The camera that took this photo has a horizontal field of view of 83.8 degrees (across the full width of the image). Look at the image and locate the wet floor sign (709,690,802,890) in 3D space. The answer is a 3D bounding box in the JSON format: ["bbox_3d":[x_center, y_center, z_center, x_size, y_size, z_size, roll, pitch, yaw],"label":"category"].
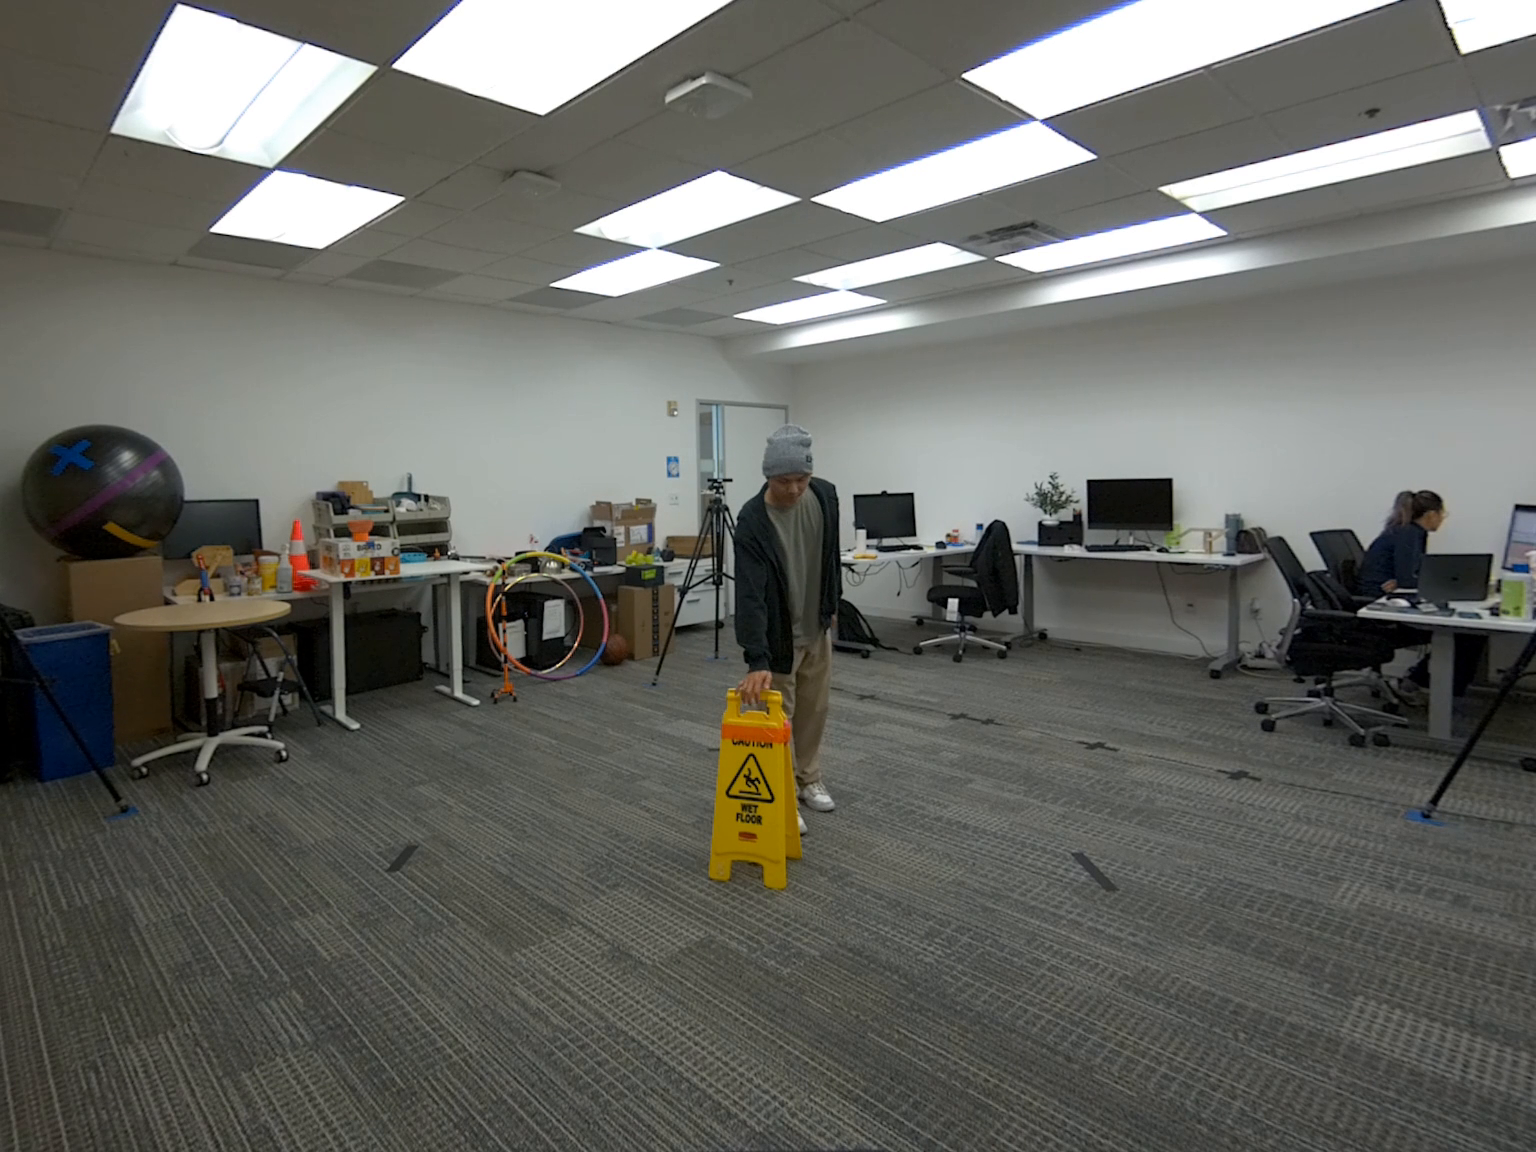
[{"bbox_3d":[-0.048,0.726,3.043,0.287,0.643,0.286,0,5,17],"label":"wet floor sign"}]
